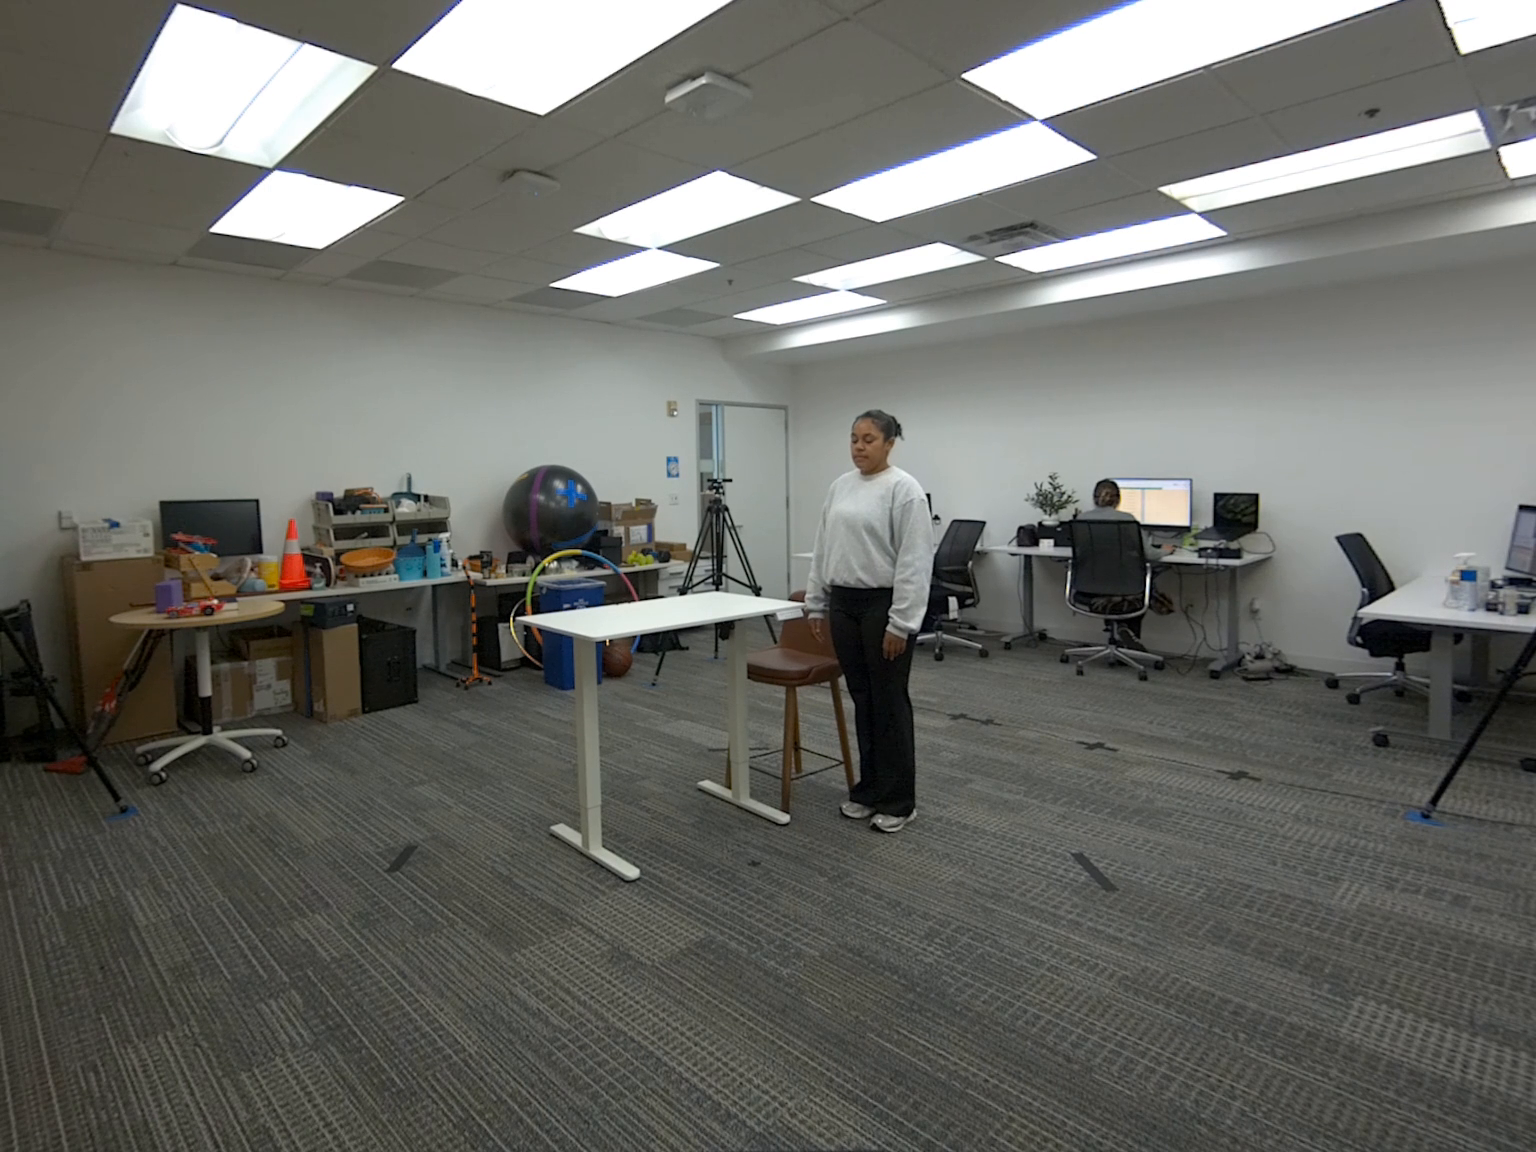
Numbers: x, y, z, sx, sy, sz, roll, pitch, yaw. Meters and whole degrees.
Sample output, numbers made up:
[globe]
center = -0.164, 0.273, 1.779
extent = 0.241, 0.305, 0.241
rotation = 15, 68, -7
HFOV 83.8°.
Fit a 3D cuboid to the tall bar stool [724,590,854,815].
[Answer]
[tall bar stool]
center = 0.104, 0.531, 3.779
extent = 0.454, 0.888, 0.470
rotation = -1, 3, -39
